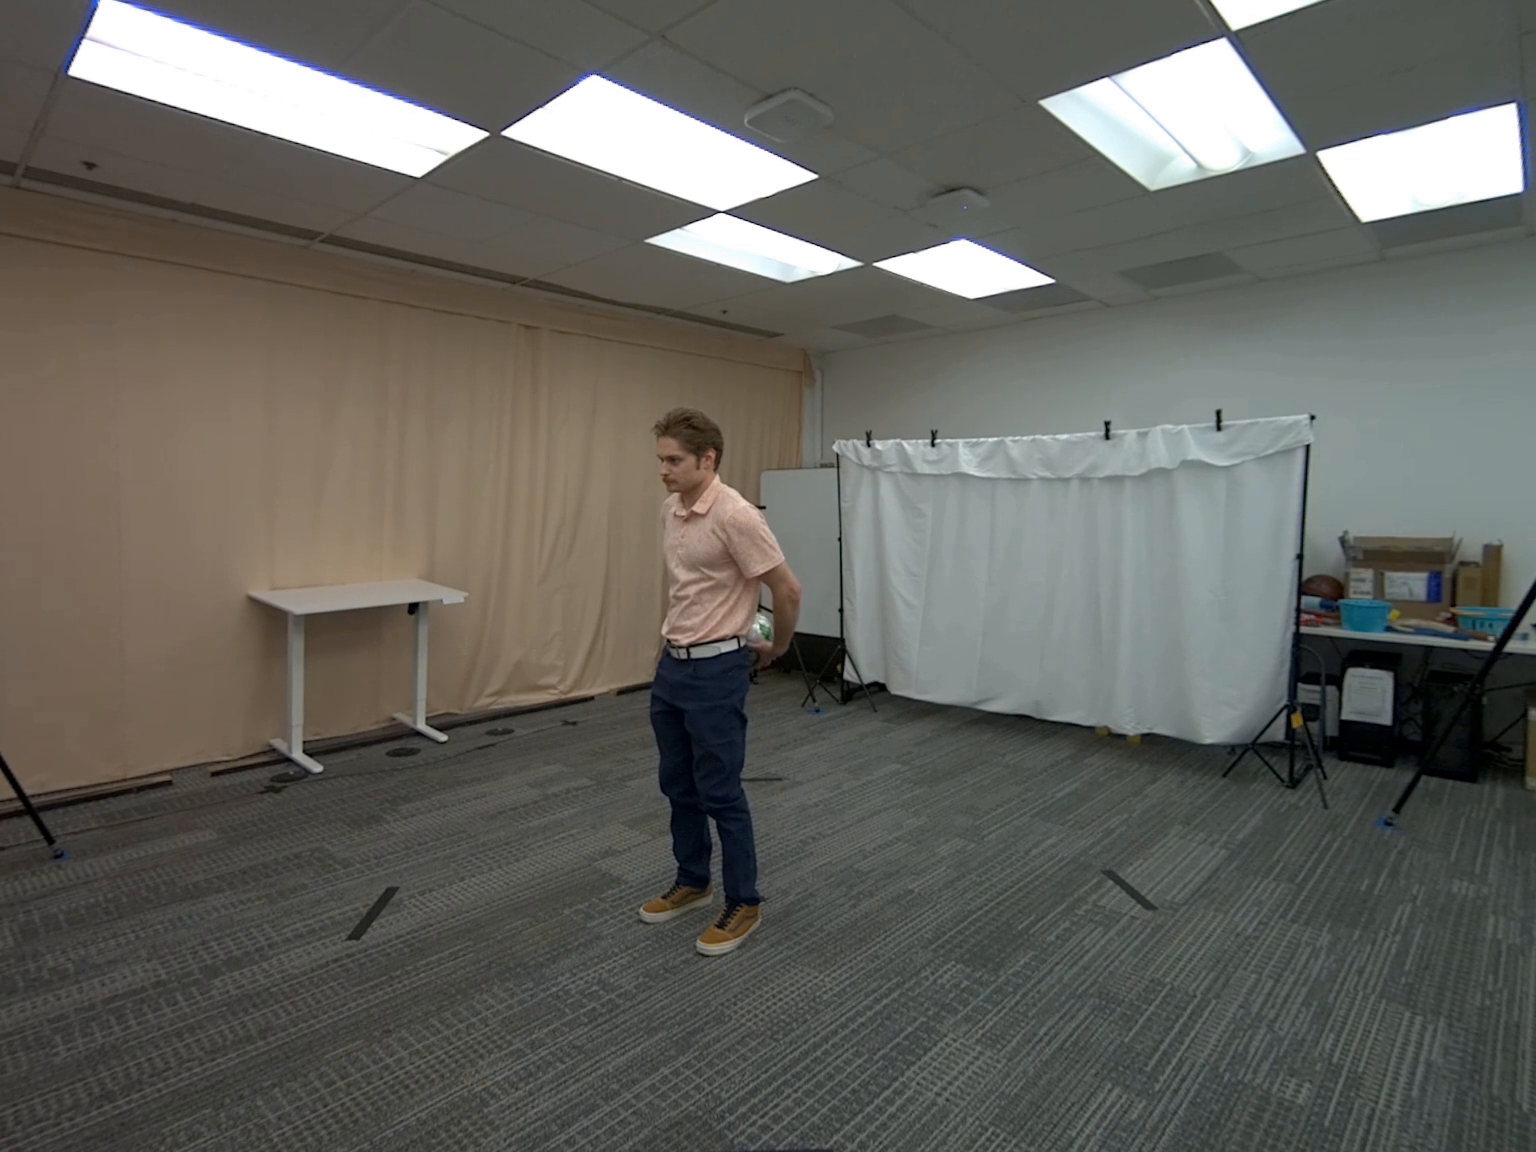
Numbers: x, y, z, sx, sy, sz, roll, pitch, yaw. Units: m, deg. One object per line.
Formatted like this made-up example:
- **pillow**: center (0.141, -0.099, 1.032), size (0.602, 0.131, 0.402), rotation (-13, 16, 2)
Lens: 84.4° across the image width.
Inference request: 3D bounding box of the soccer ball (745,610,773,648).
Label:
- **soccer ball**: center (-0.050, 0.222, 2.944), size (0.187, 0.187, 0.188), rotation (0, 4, -2)
